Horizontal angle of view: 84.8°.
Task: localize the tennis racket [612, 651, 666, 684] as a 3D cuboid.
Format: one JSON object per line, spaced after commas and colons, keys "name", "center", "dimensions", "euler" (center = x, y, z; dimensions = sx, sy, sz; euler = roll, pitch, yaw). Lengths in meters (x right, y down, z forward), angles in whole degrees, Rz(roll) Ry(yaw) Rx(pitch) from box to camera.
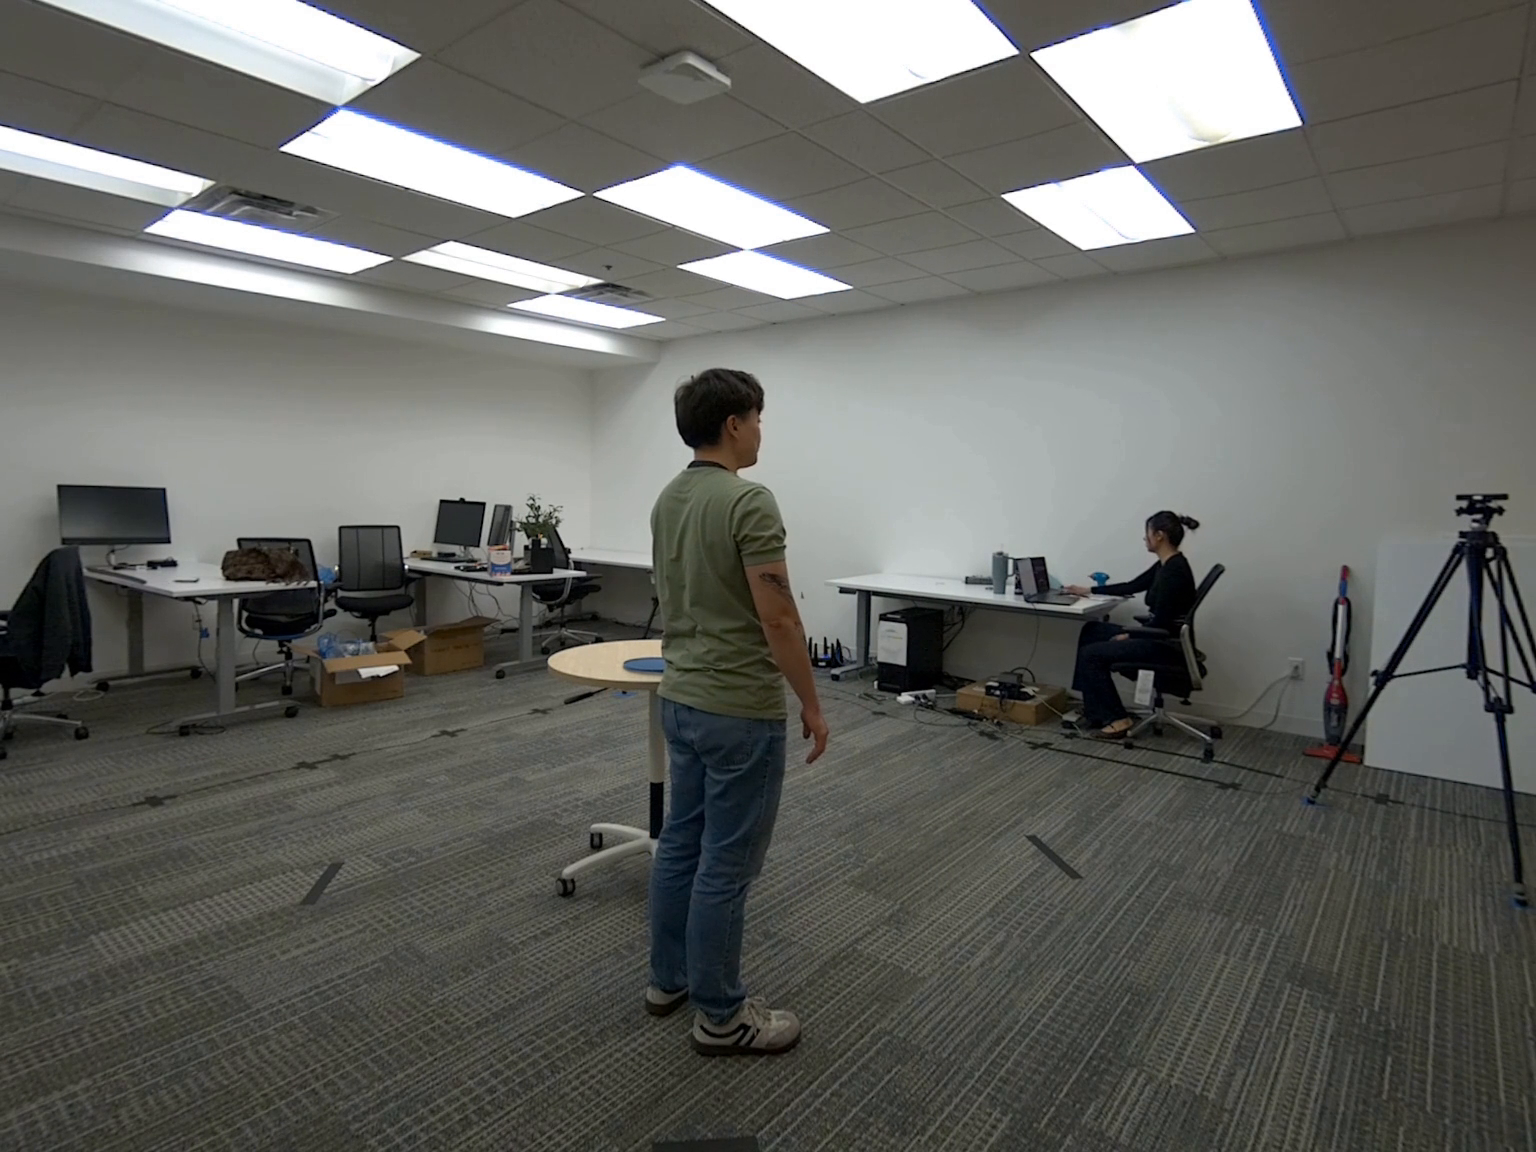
{"name": "tennis racket", "center": [-0.326, 0.301, 2.774], "dimensions": [0.208, 0.031, 0.446], "euler": [-5, 6, -34]}
